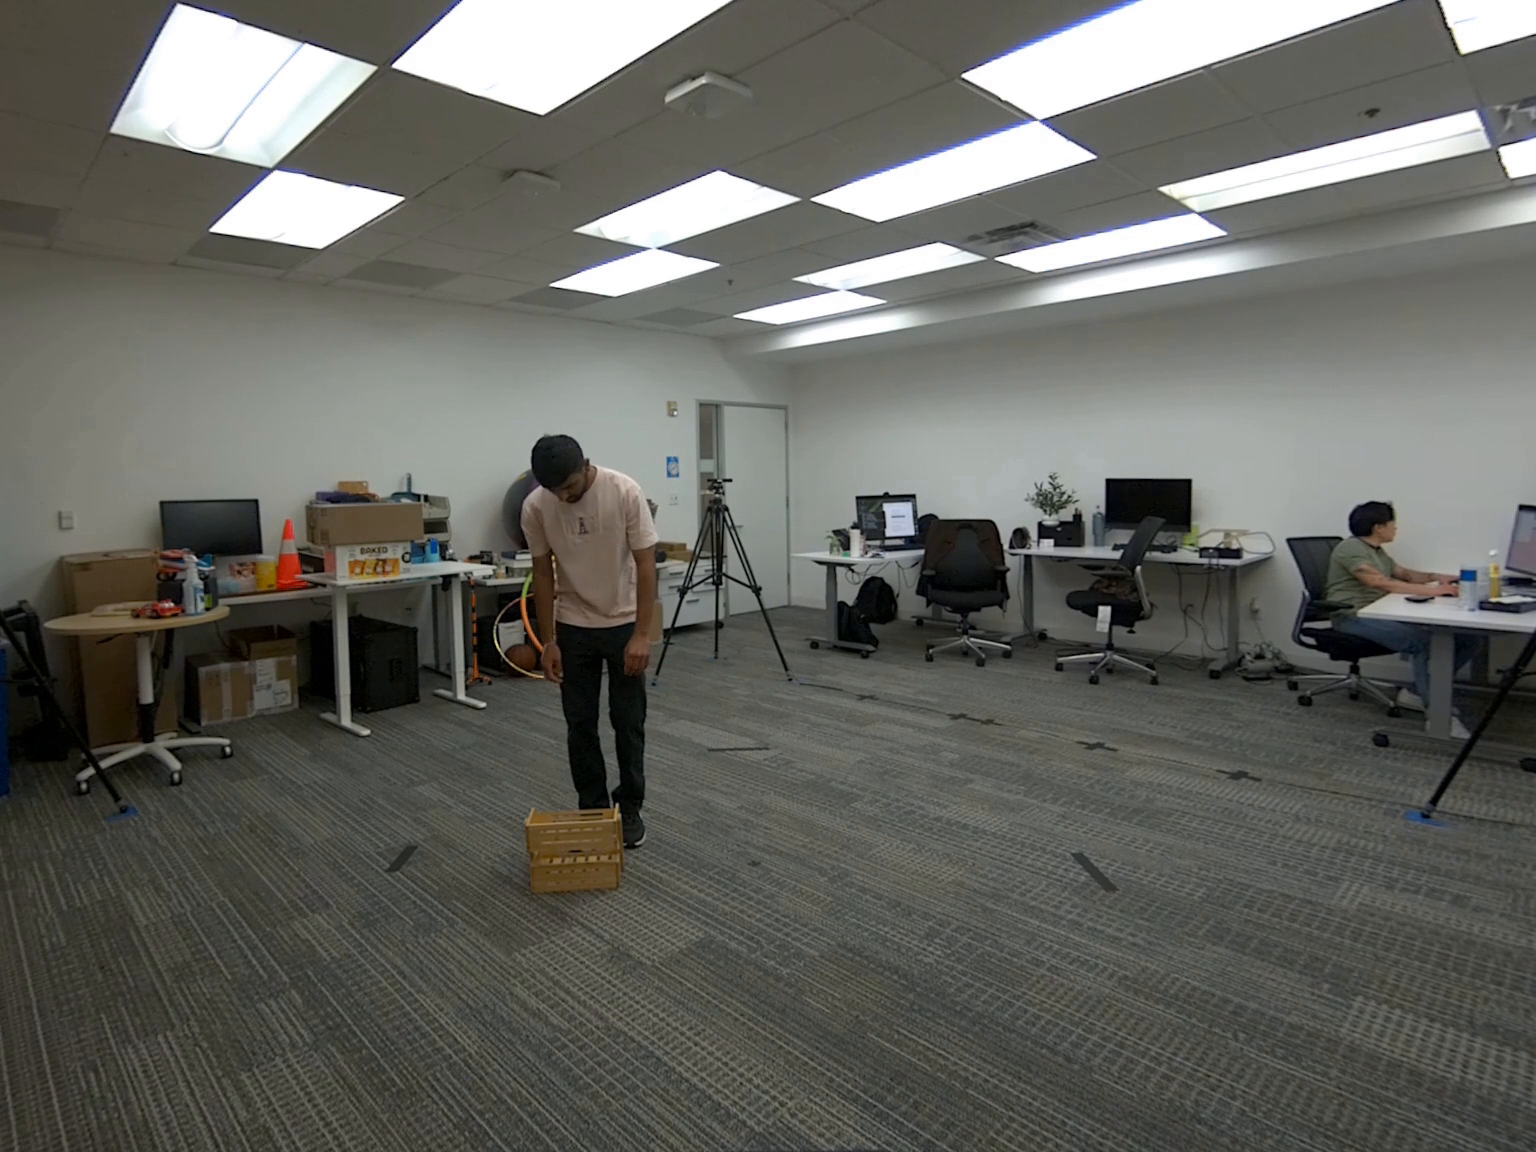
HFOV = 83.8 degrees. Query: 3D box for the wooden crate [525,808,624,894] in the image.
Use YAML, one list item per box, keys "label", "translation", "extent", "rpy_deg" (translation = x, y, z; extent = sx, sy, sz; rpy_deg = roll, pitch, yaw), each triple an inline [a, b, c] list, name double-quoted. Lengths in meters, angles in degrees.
- label: "wooden crate"
  translation: [-0.684, 0.939, 3.020]
  extent: [0.323, 0.272, 0.305]
  rpy_deg: [-2, 6, -7]
